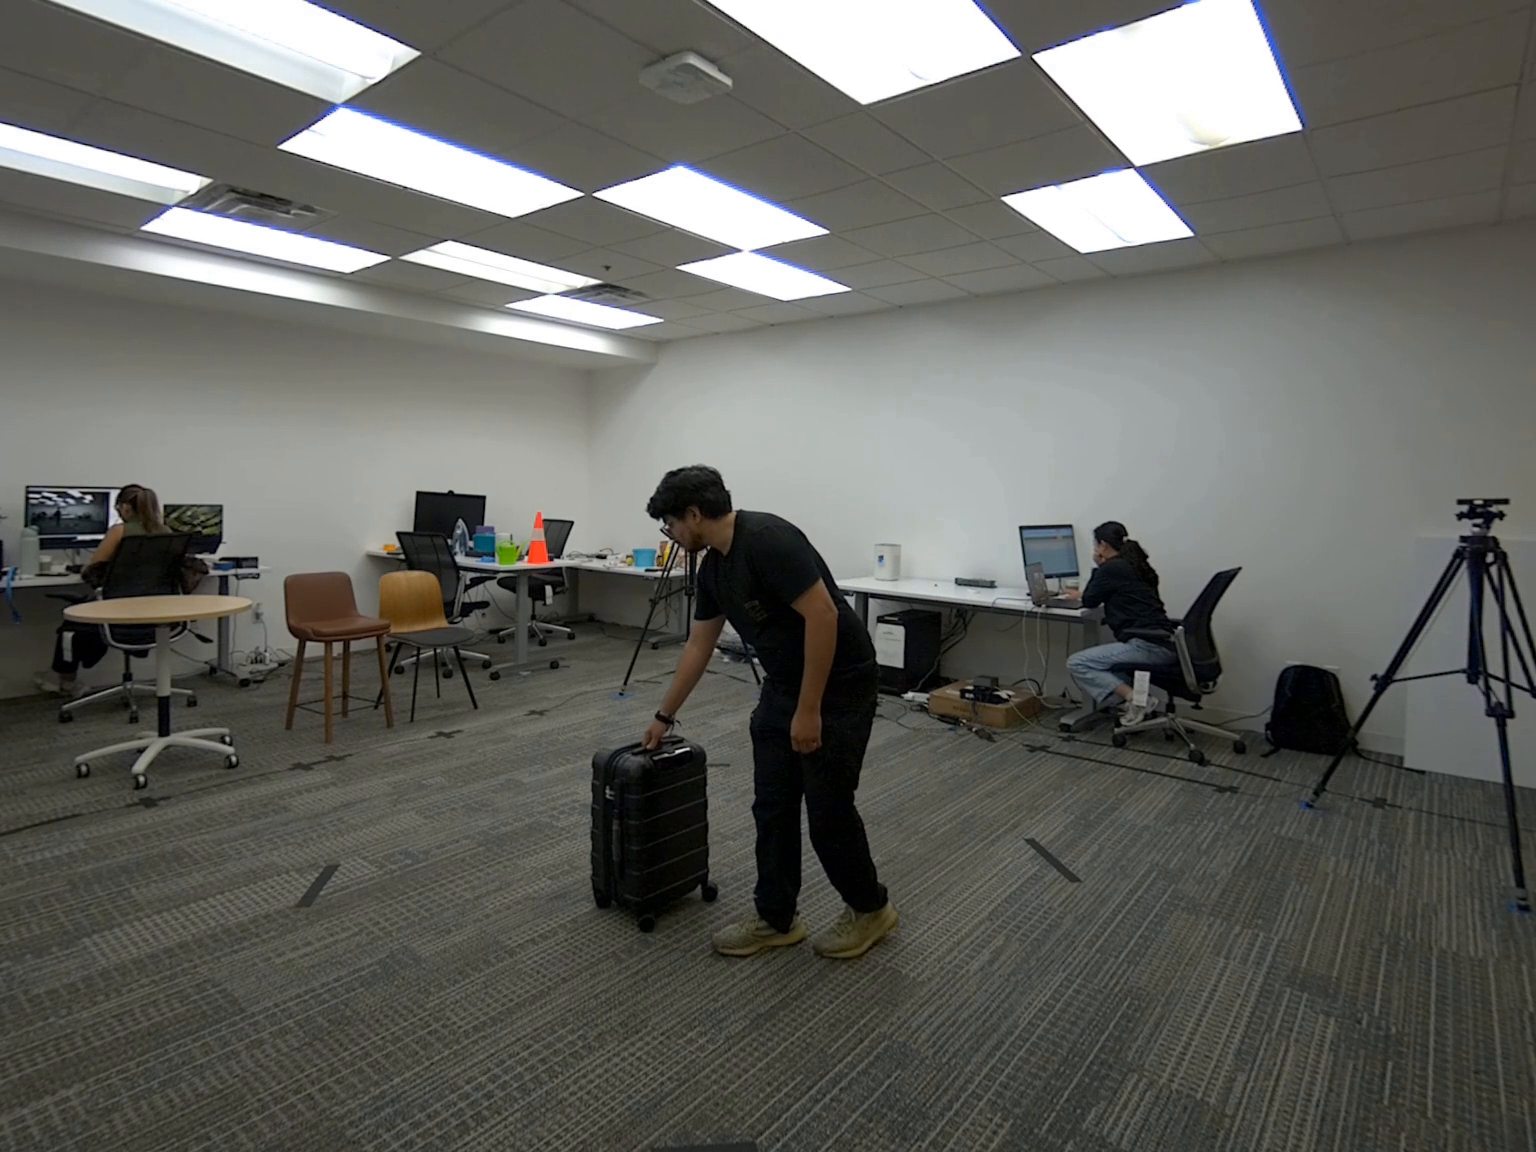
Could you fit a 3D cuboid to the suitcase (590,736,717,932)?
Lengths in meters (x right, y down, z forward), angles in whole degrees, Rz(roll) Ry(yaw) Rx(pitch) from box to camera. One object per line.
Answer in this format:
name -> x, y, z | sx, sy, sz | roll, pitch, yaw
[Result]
suitcase -> -0.393, 0.824, 2.844 | 0.256, 0.549, 0.364 | 0, 2, 41
